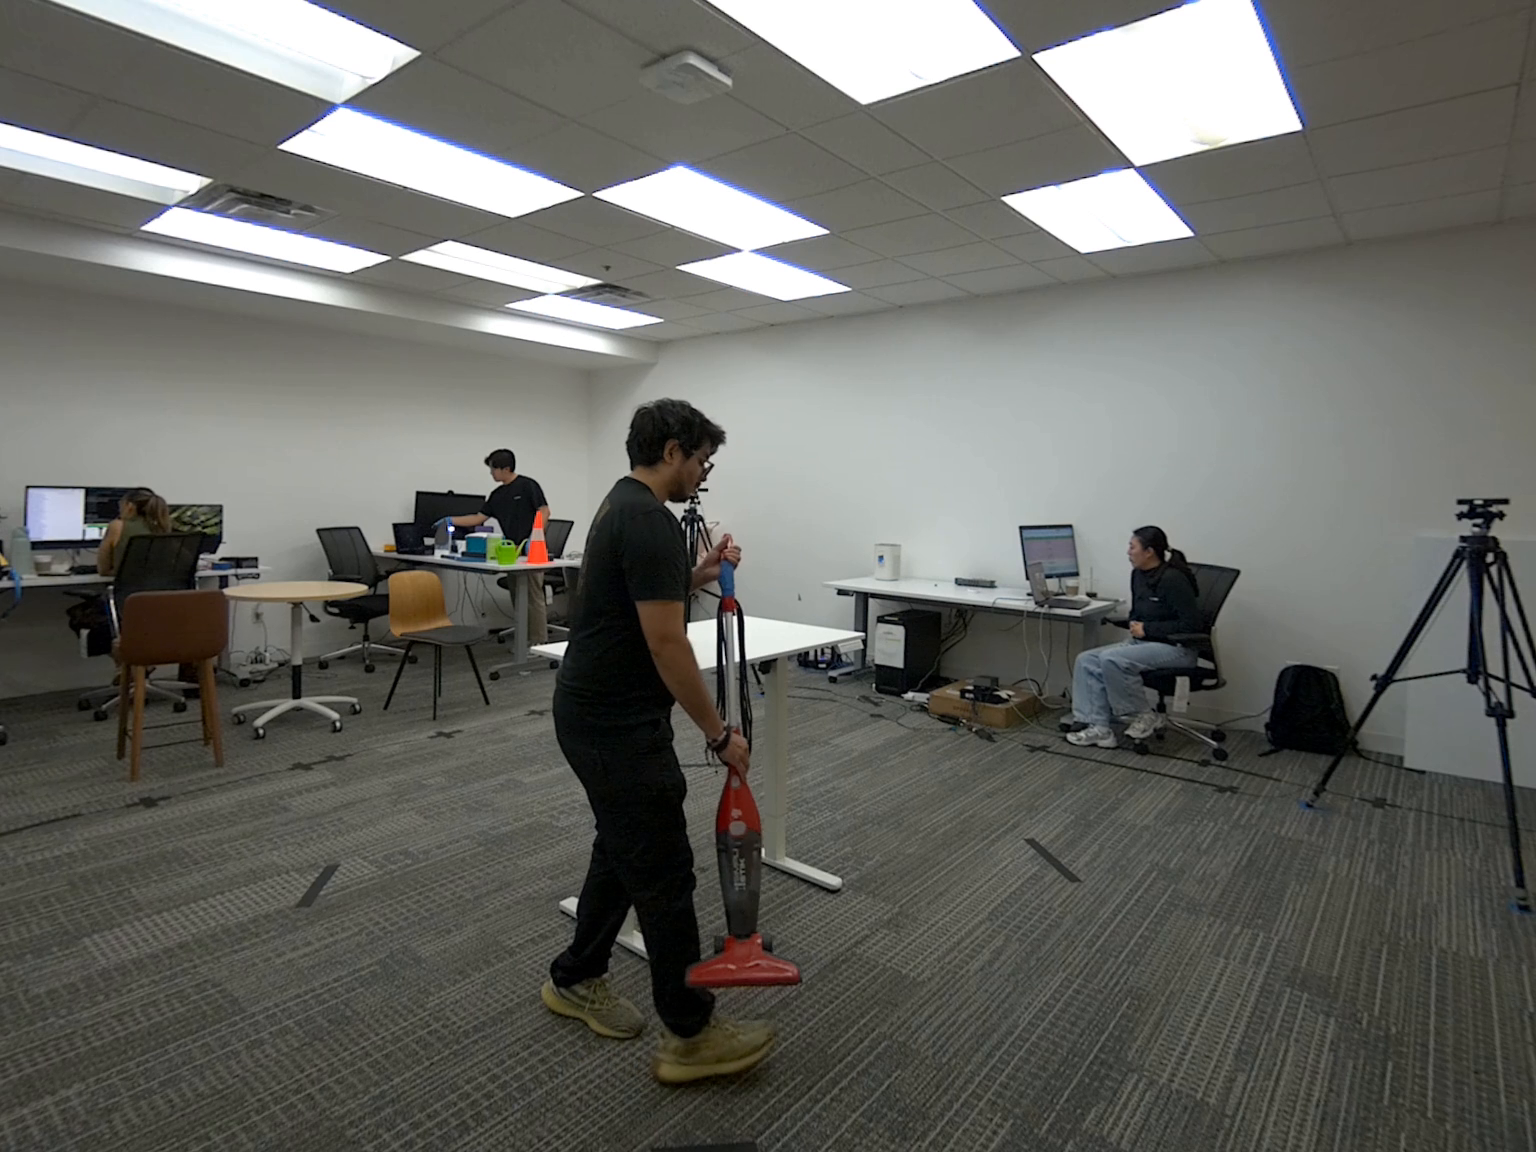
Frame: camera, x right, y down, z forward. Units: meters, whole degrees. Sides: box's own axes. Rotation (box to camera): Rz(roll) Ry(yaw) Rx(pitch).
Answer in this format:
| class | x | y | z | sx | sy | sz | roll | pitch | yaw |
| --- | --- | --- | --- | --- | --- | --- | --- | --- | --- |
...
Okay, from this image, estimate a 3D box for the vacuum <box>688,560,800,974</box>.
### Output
| class | x | y | z | sx | sy | sz | roll | pitch | yaw |
| --- | --- | --- | --- | --- | --- | --- | --- | --- | --- |
| vacuum | -0.088 | 0.385 | 2.118 | 0.254 | 1.074 | 0.140 | -6 | -25 | 5 |
